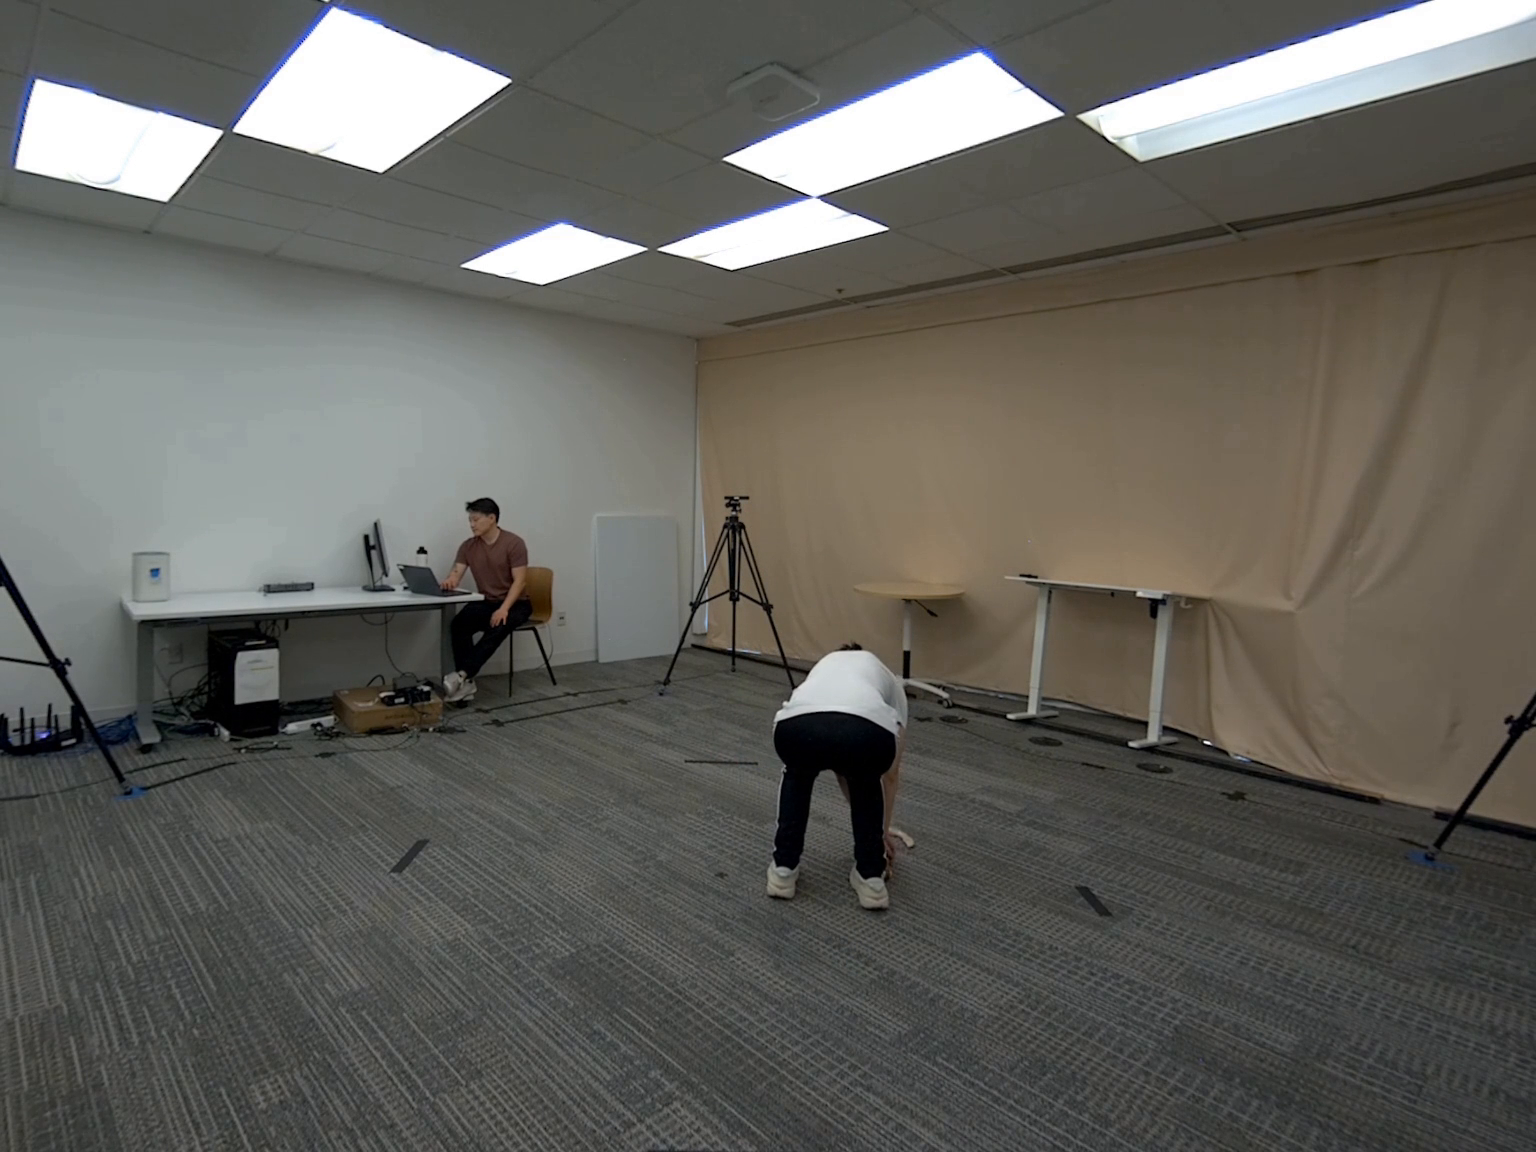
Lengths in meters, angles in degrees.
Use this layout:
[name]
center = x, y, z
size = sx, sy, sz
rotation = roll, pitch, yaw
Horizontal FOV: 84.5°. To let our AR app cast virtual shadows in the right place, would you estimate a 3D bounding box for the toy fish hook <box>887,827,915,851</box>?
[toy fish hook]
center = 0.482, 1.083, 3.319
size = 0.225, 0.048, 0.508
rotation = 1, 5, -1
